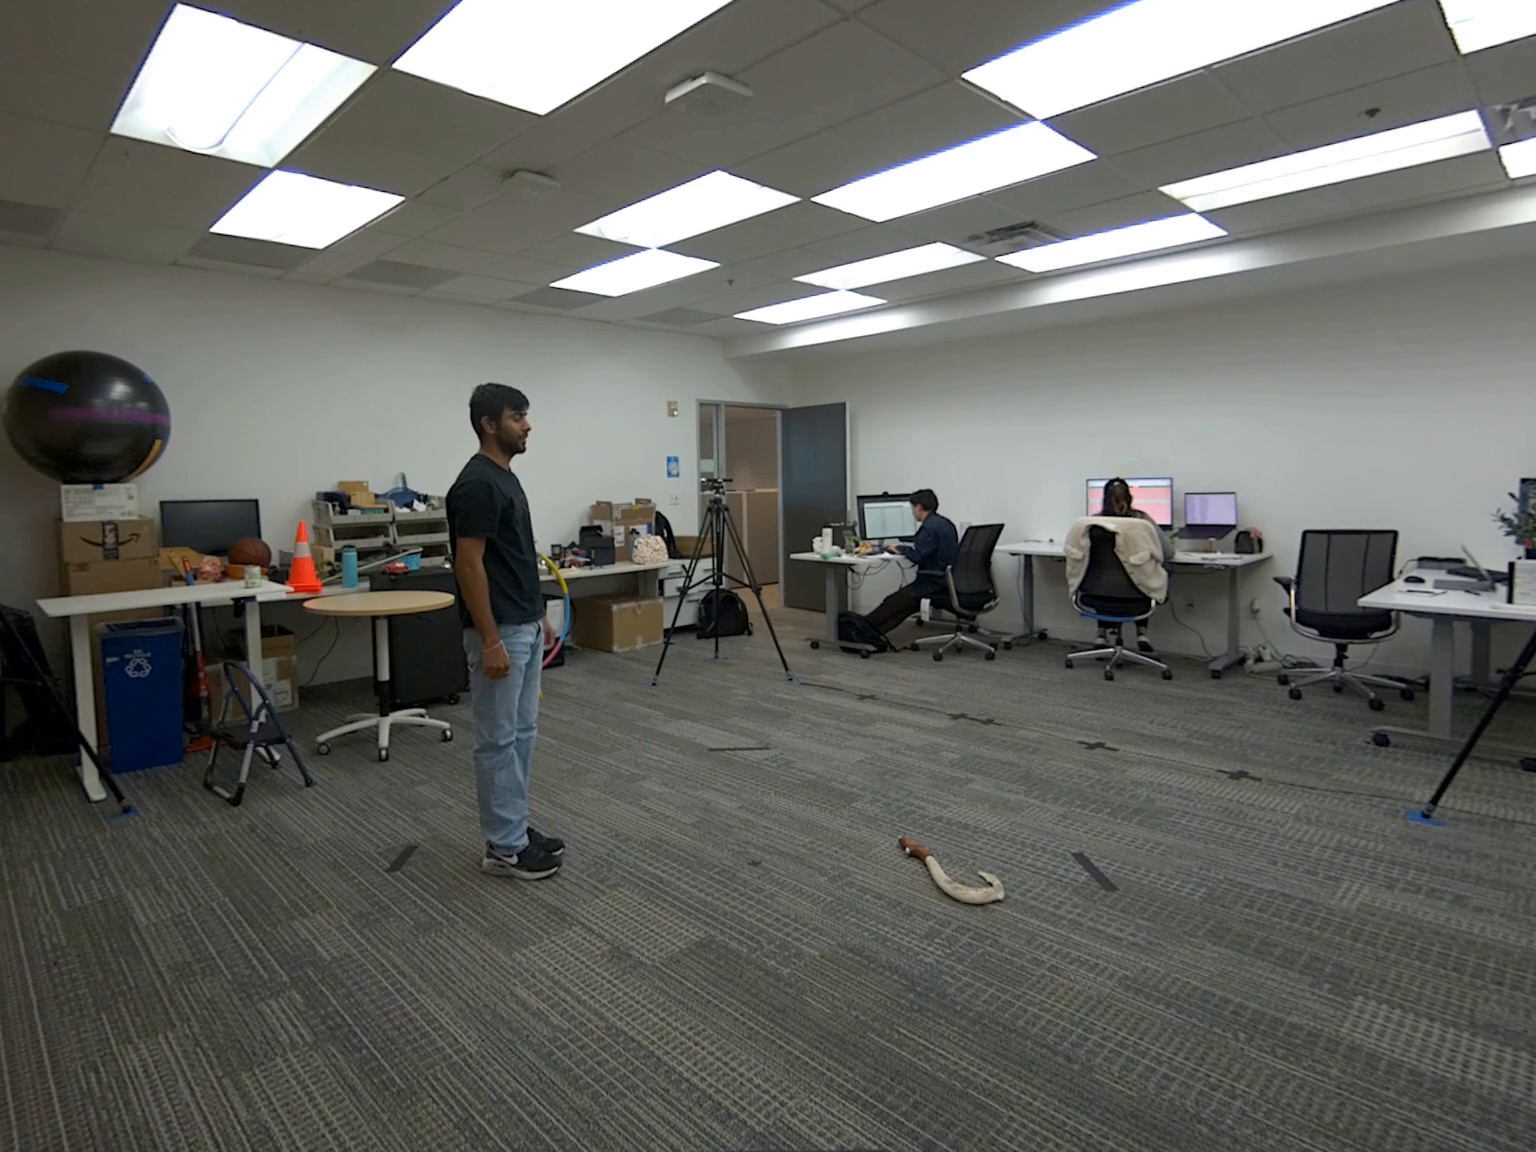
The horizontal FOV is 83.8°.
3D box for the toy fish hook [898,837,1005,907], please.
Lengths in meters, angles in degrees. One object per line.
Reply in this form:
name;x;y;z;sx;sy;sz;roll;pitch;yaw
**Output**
toy fish hook;0.634;1.017;3.015;0.220;0.048;0.517;6;5;-20
